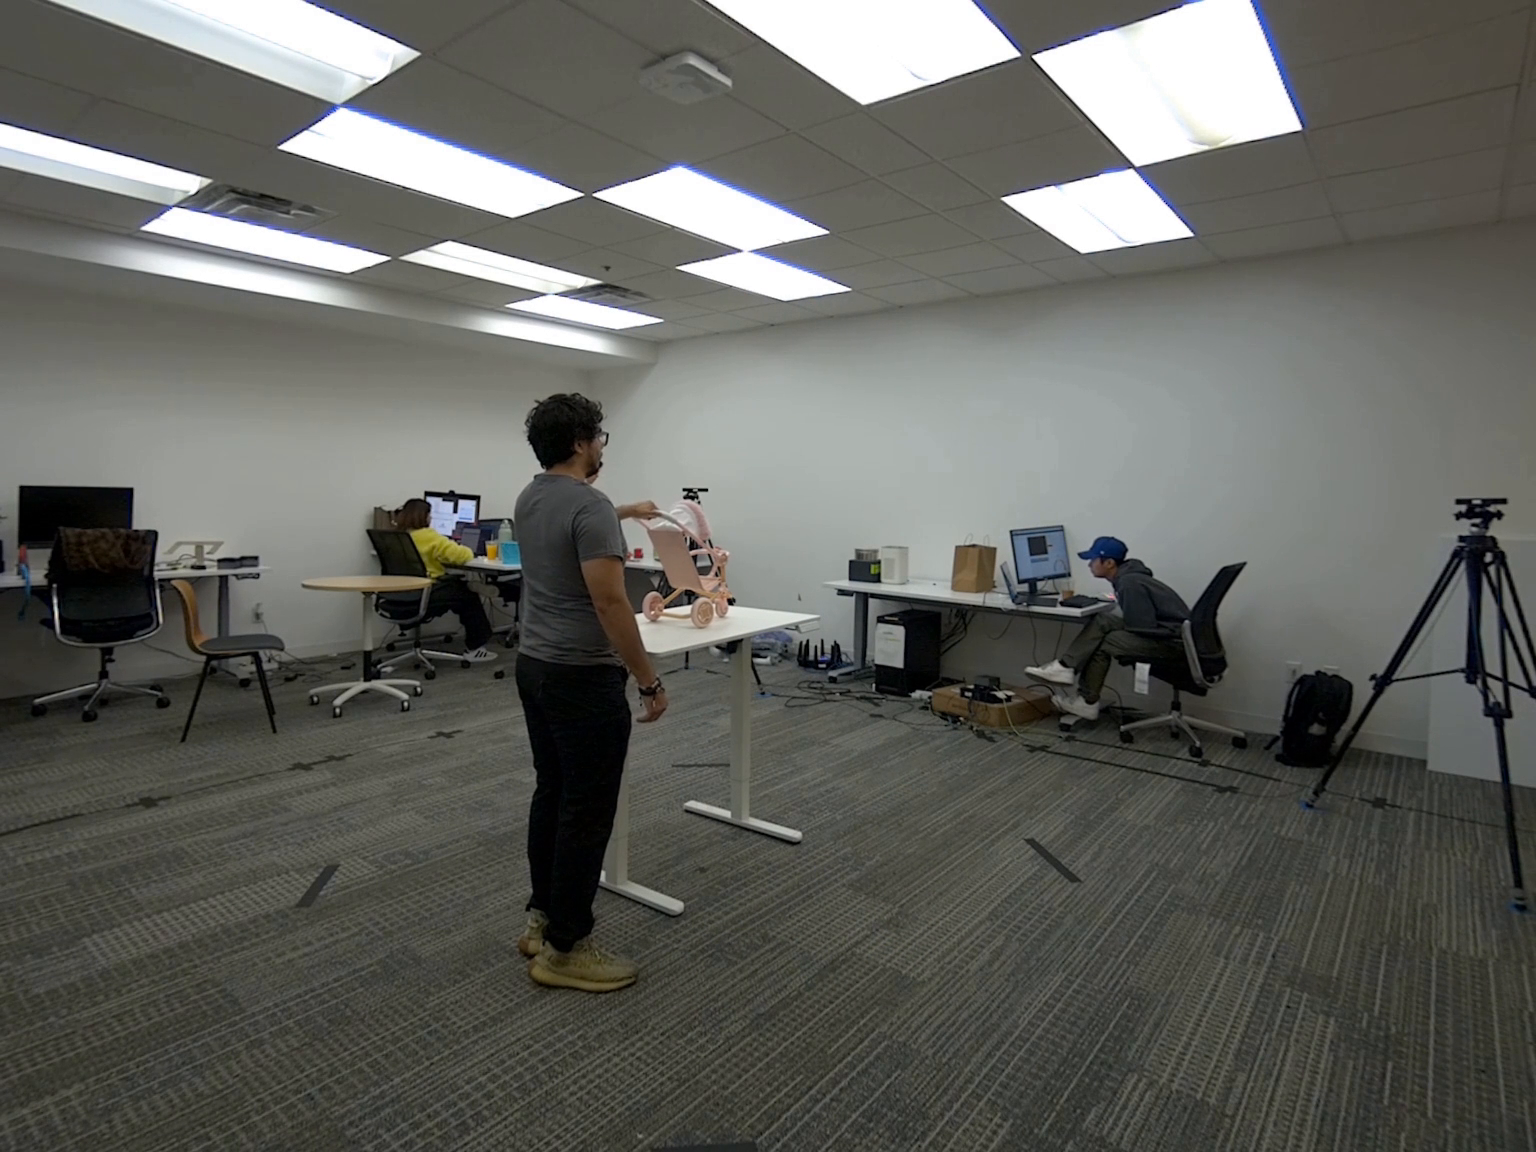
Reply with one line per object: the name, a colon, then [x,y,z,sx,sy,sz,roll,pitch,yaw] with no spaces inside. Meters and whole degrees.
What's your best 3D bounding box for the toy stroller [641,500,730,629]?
toy stroller: [-0.306,-0.050,3.209,0.291,0.526,0.335,5,21,42]
